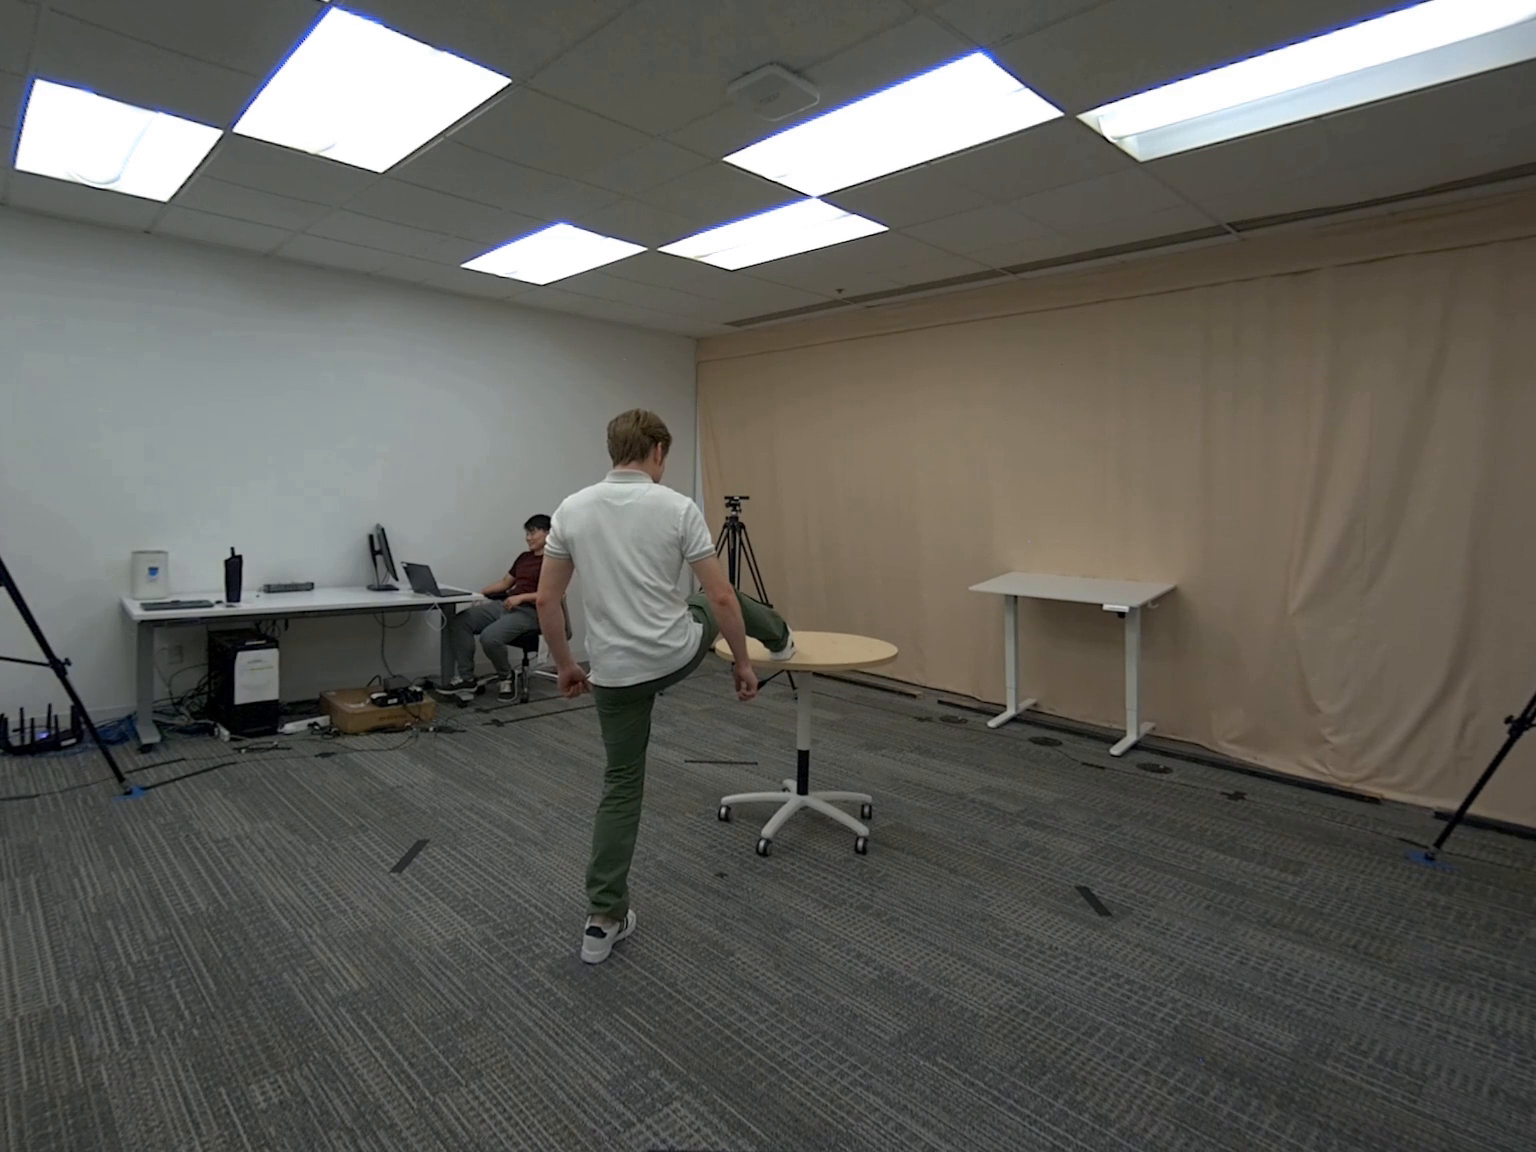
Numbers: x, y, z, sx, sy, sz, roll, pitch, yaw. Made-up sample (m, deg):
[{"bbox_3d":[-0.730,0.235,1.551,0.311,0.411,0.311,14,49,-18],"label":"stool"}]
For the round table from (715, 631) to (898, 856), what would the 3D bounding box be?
[{"bbox_3d":[0.145,0.686,3.567,0.763,0.792,0.766,1,4,-1],"label":"round table"}]
